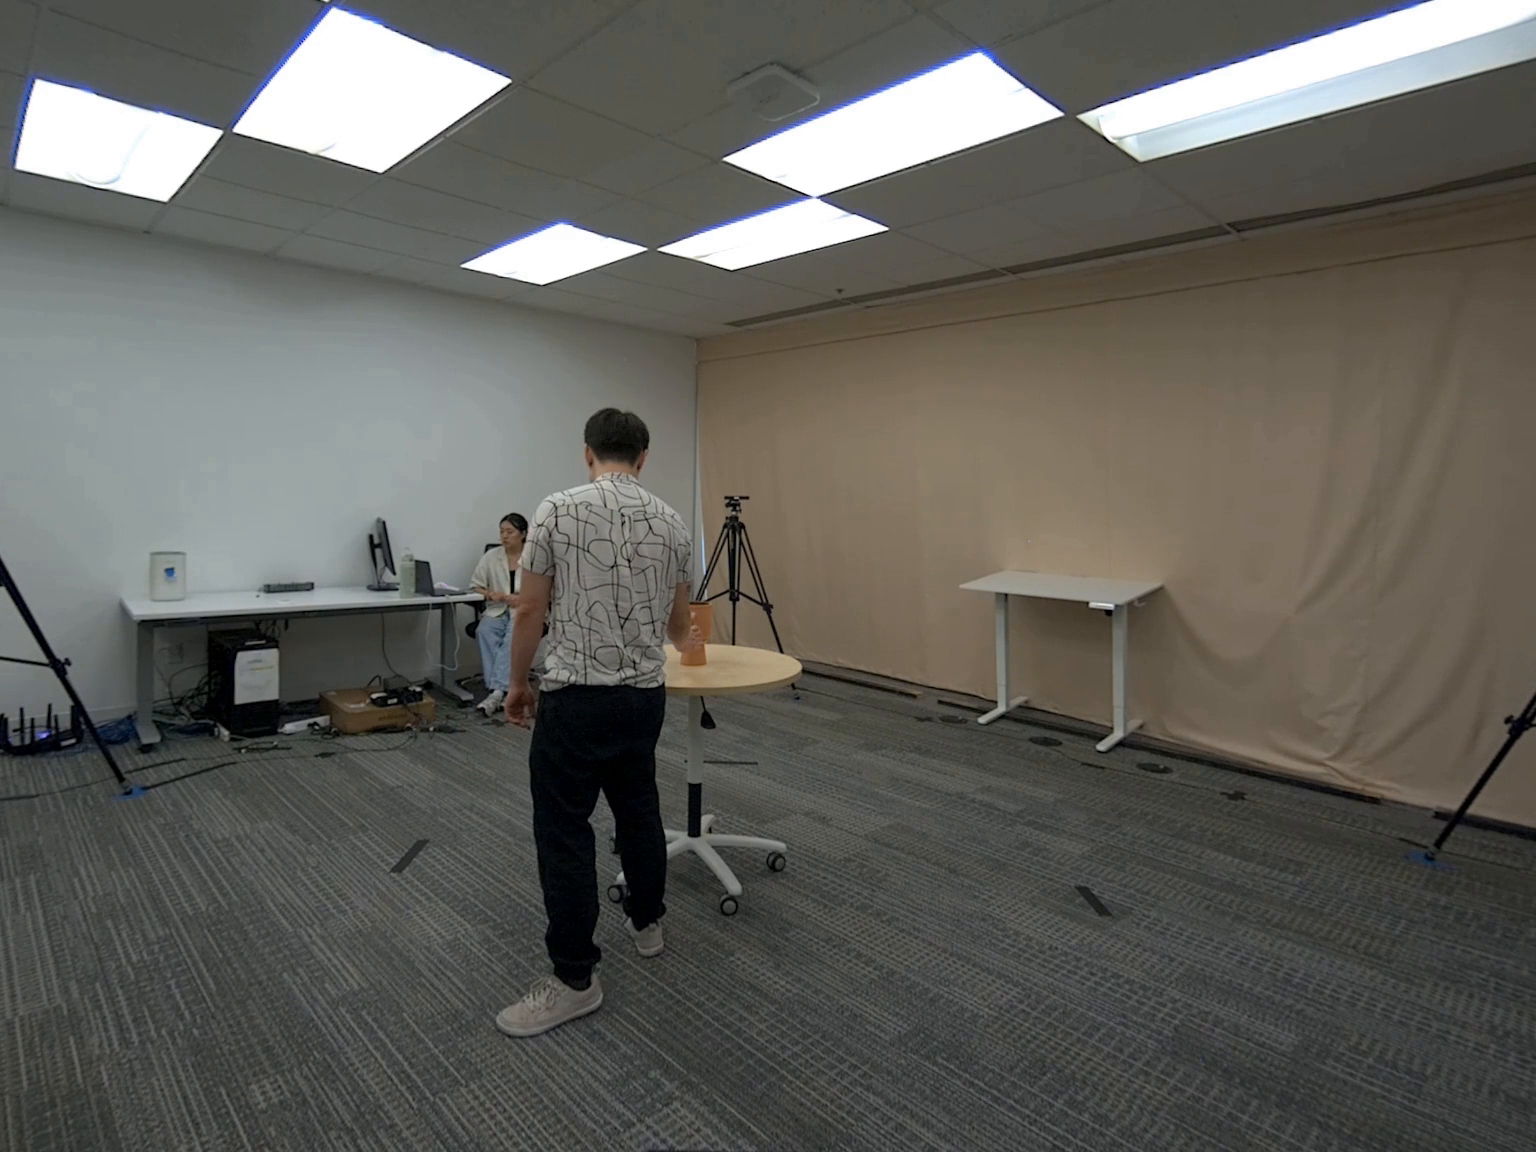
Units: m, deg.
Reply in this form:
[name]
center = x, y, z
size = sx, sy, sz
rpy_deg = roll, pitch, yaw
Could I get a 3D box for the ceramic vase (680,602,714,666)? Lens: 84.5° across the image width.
[ceramic vase]
center = -0.275, 0.212, 3.067
size = 0.138, 0.219, 0.155
rpy_deg = 6, 7, 40
